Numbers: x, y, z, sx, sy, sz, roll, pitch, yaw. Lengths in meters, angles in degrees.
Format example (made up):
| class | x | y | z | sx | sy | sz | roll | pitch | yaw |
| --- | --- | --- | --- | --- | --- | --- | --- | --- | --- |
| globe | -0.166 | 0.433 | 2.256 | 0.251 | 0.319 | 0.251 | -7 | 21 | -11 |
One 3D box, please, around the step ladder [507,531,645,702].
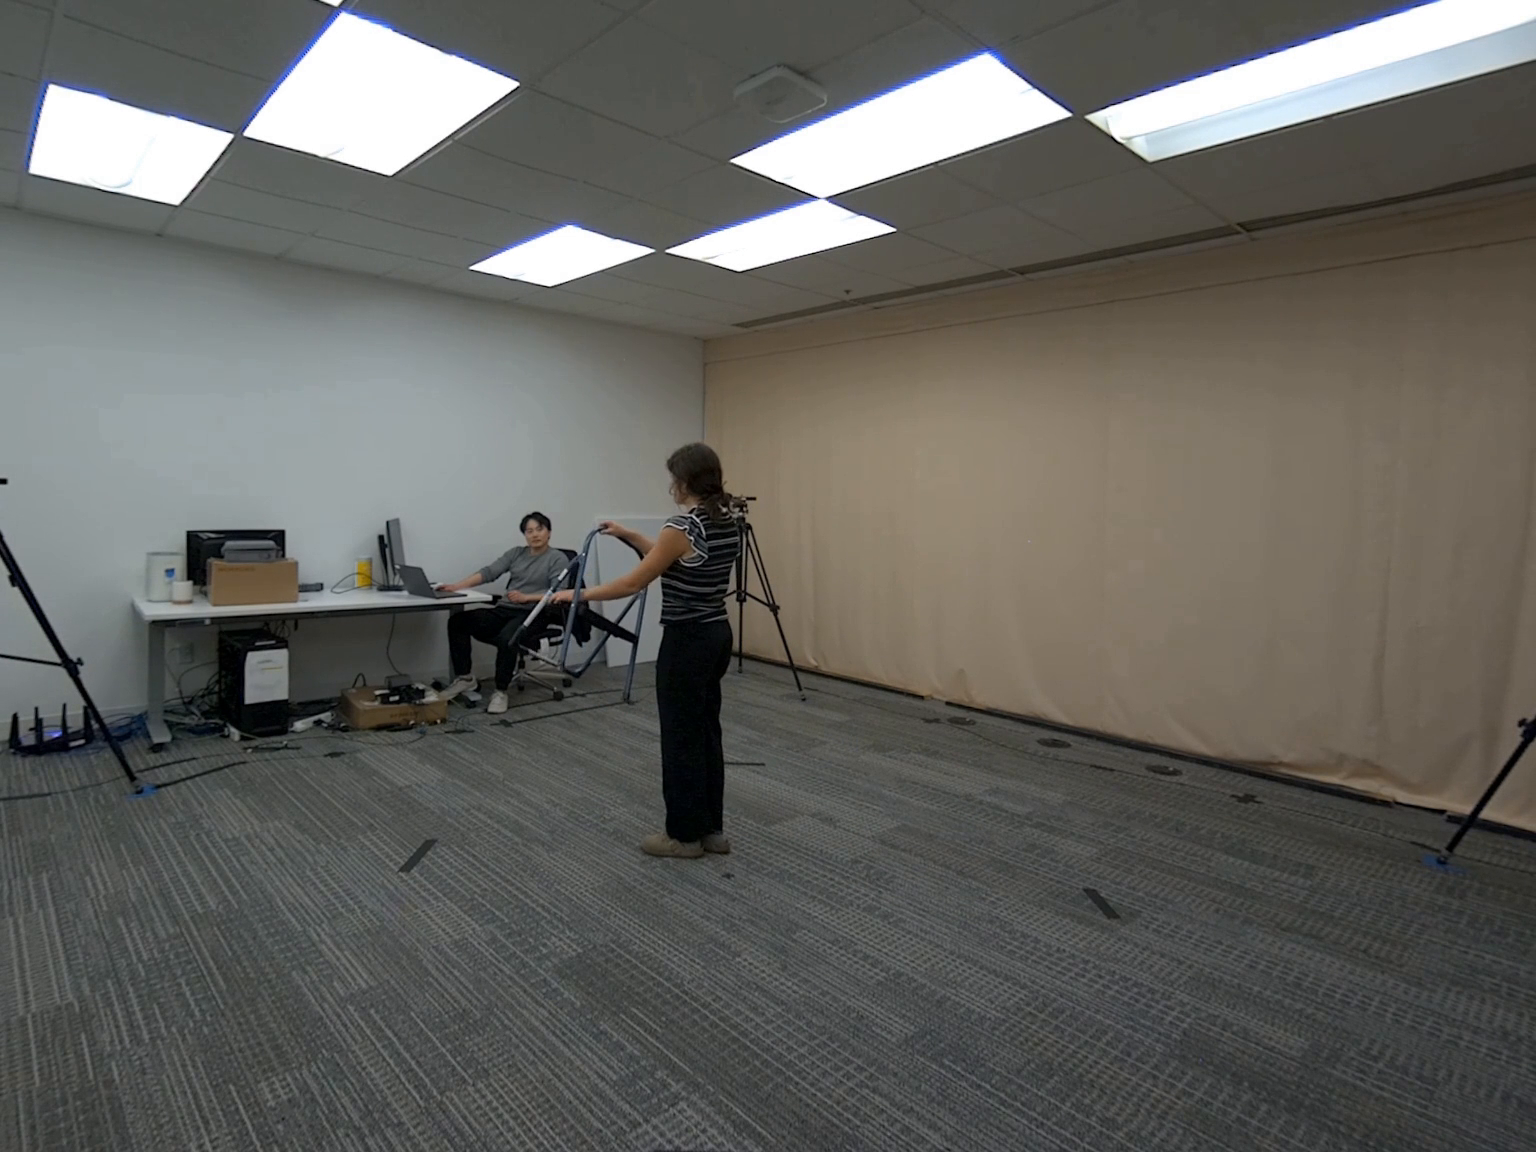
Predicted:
| class | x | y | z | sx | sy | sz | roll | pitch | yaw |
| --- | --- | --- | --- | --- | --- | --- | --- | --- | --- |
| step ladder | -0.668 | 0.122 | 3.391 | 0.359 | 0.608 | 0.417 | 17 | -14 | 37 |
